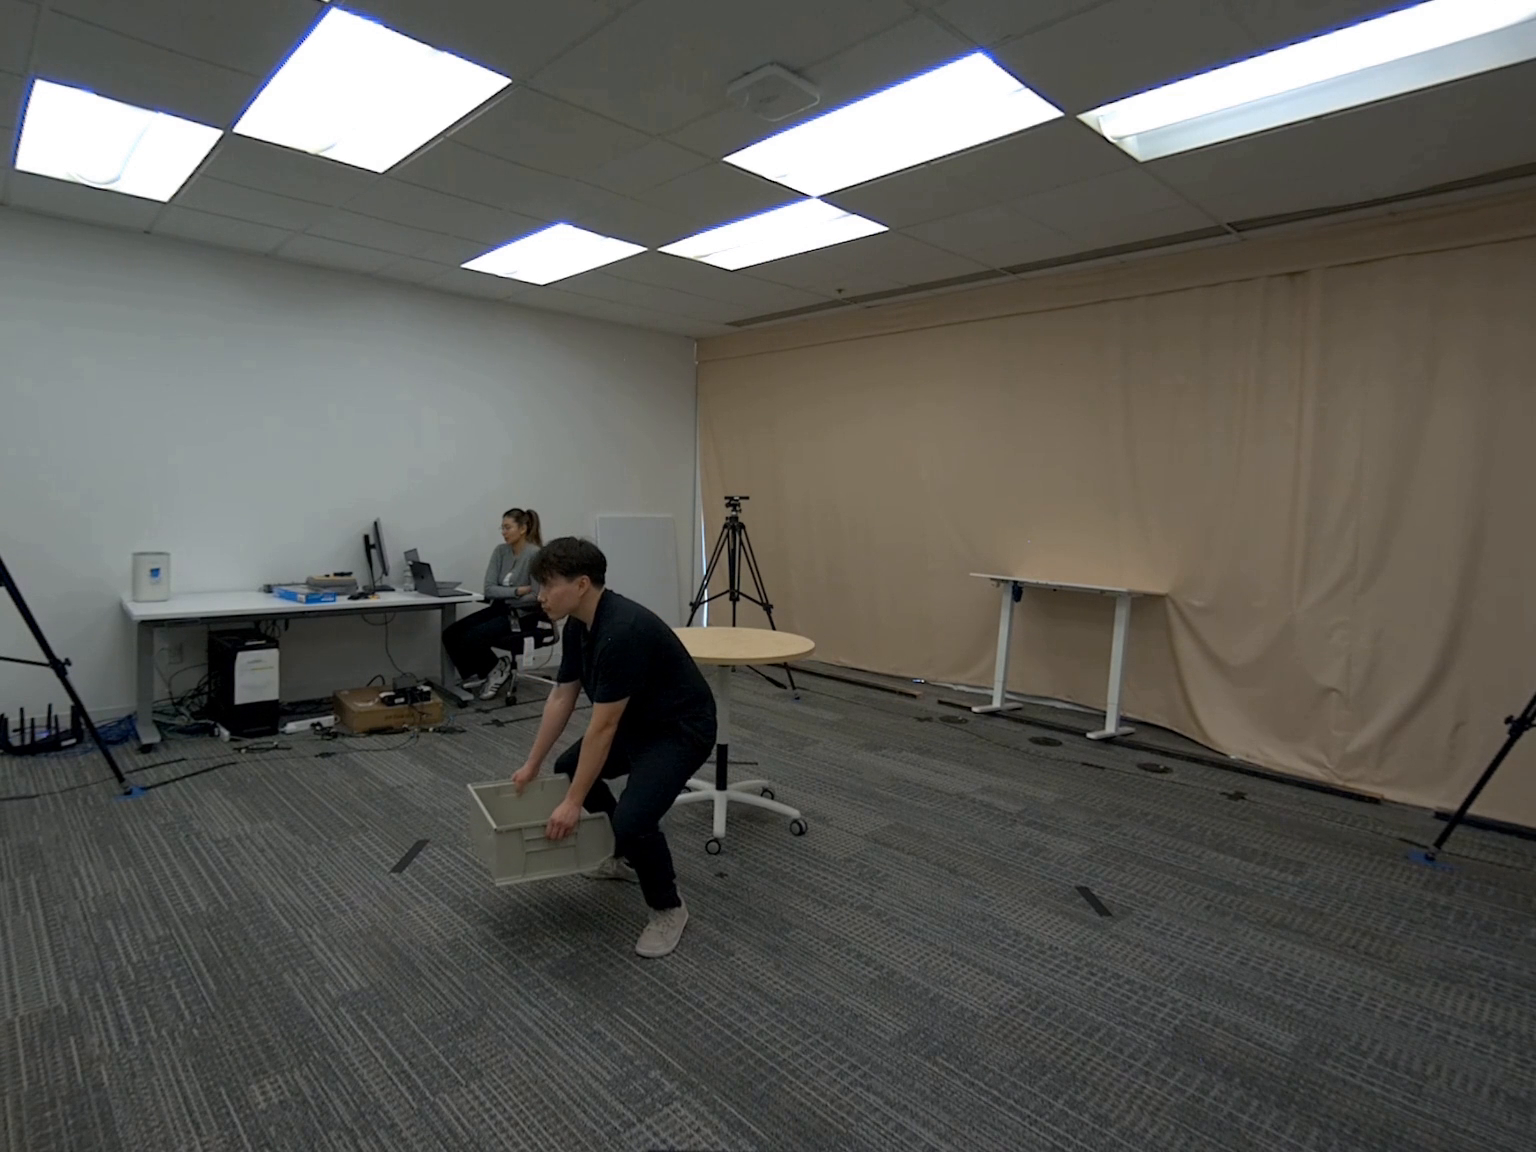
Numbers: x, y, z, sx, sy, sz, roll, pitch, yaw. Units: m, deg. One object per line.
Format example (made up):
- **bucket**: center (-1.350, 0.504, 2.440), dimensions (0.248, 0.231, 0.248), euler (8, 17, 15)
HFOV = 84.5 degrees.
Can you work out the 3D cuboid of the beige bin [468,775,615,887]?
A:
- **beige bin**: center (-0.761, 0.815, 2.709), dimensions (0.371, 0.188, 0.431), euler (-3, 6, -26)
